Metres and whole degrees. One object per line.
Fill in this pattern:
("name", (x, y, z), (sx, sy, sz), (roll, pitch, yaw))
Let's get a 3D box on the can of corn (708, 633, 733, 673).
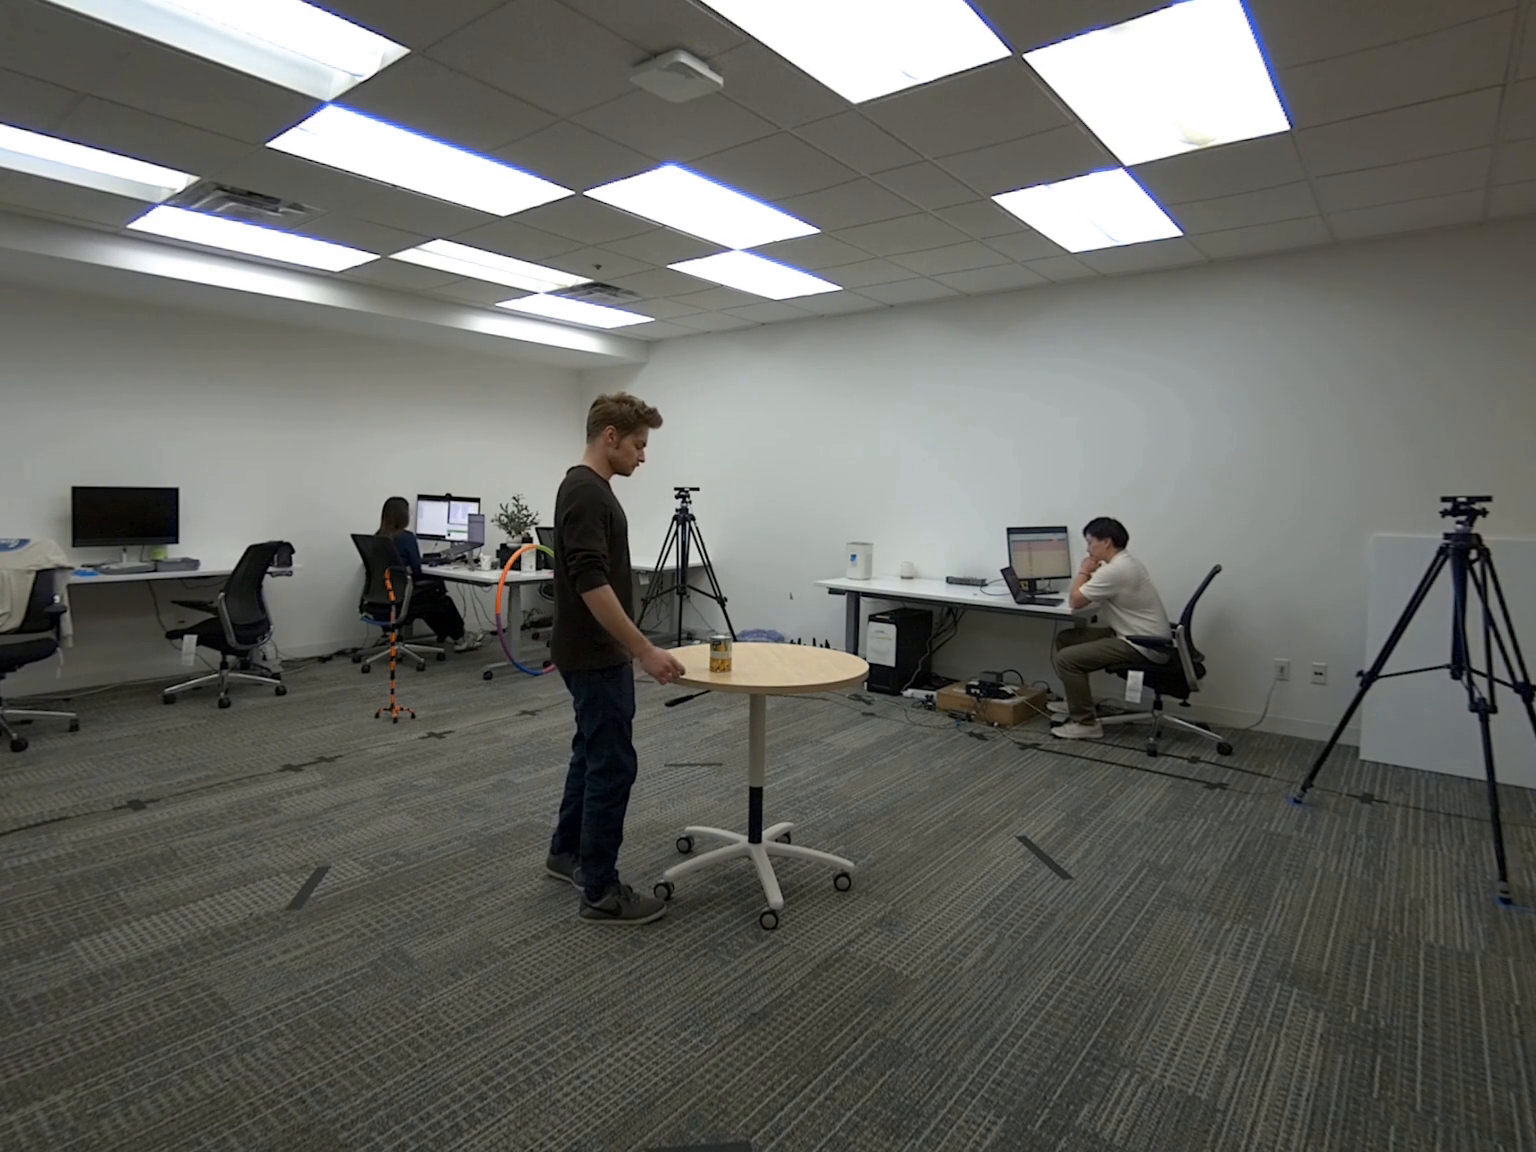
("can of corn", (-0.168, 0.257, 2.820), (0.074, 0.111, 0.074), (1, -1, -2))
